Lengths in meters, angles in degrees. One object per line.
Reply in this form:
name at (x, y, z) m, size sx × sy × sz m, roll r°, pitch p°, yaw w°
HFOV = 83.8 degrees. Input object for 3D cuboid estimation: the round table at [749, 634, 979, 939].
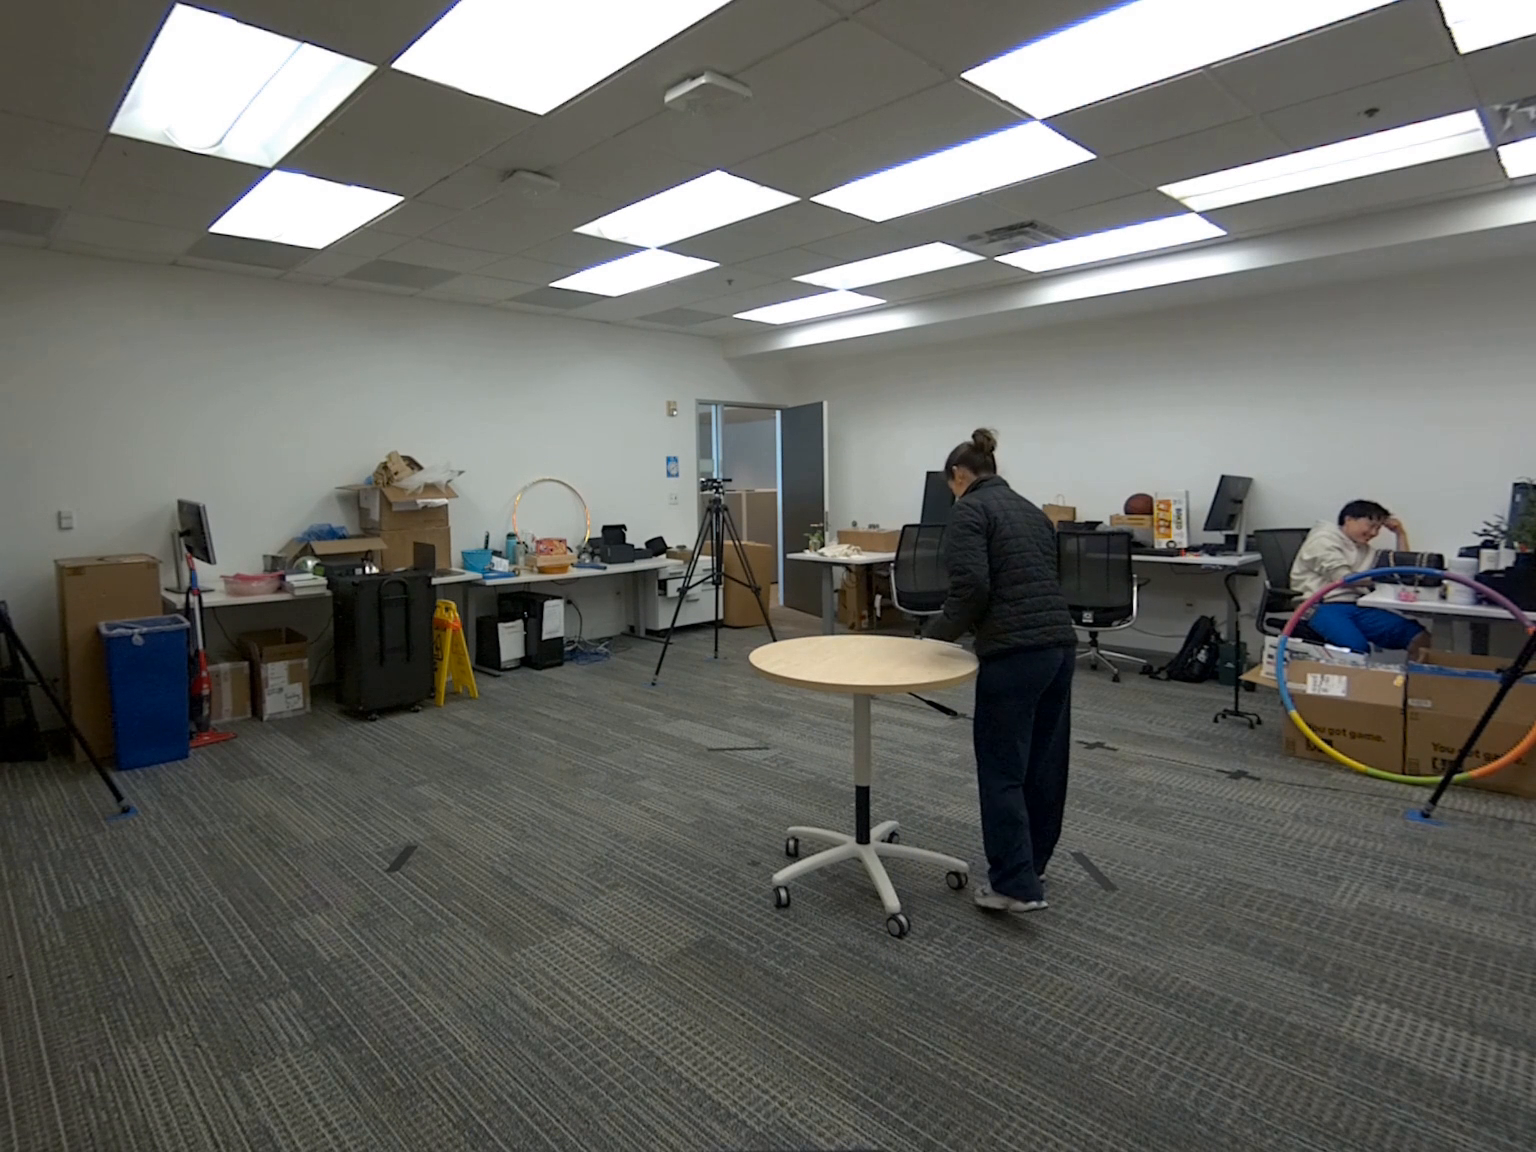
round table at (0.310, 0.658, 2.959) m, size 0.784 × 0.783 × 0.790 m, roll -1°, pitch 6°, yaw -2°
